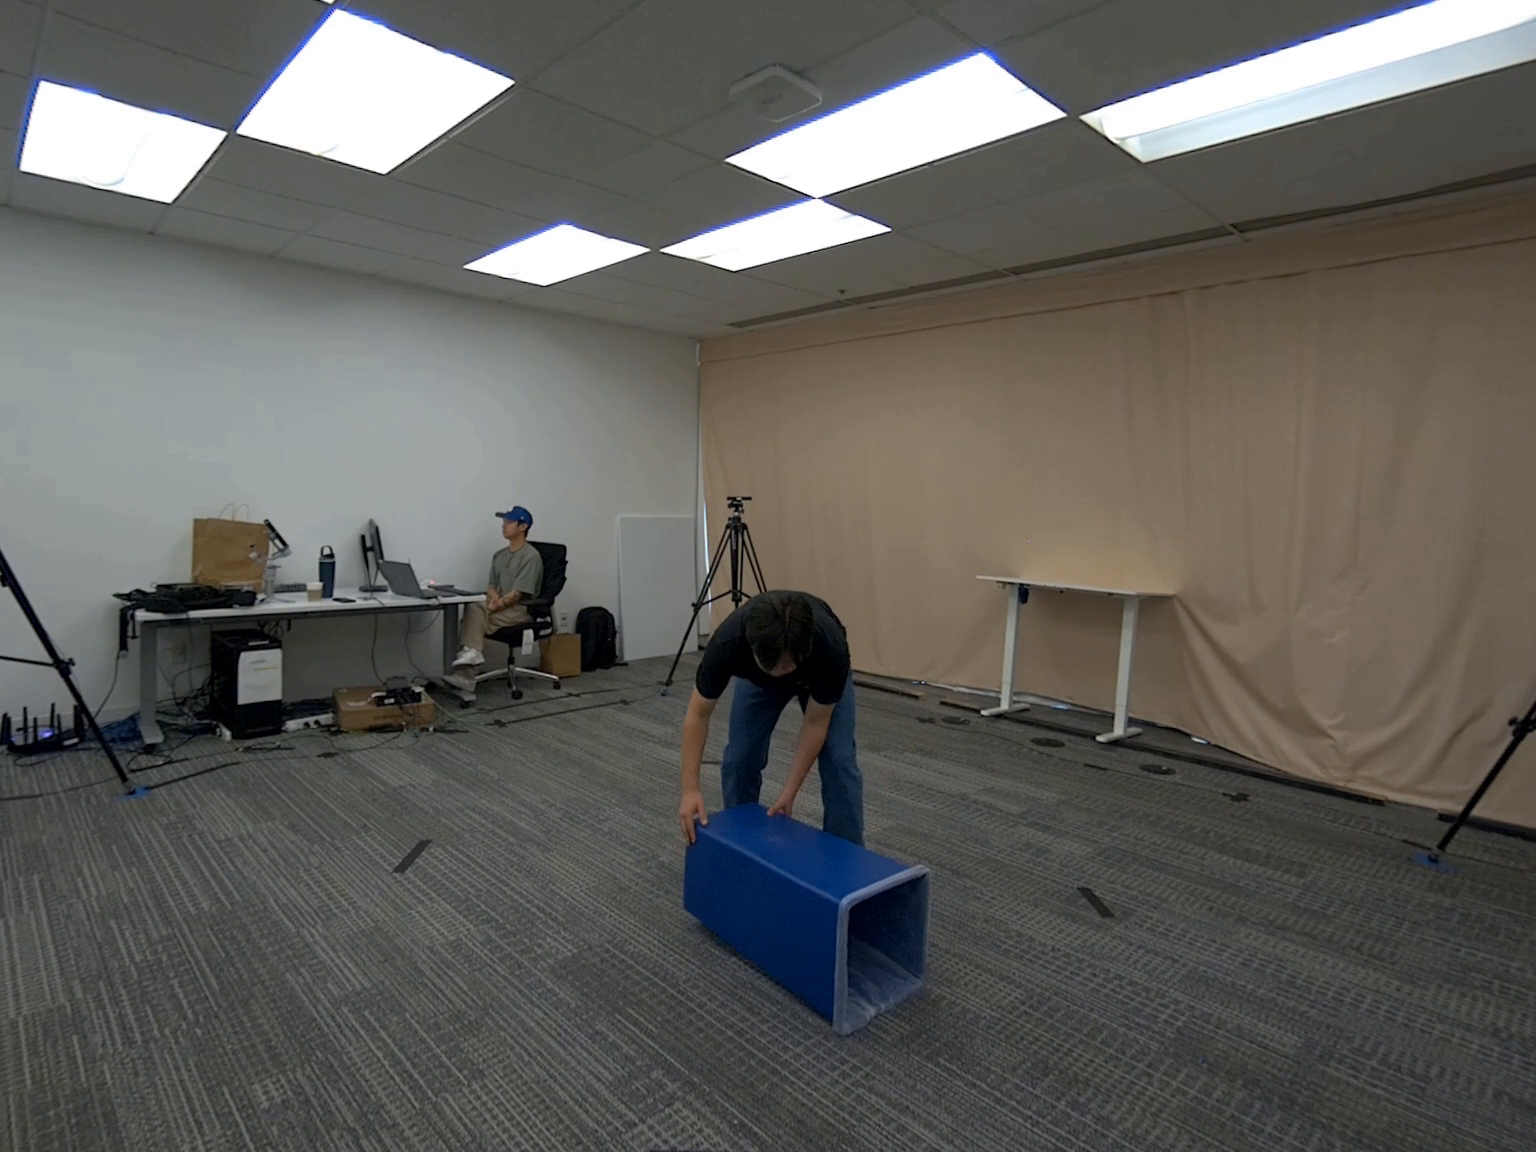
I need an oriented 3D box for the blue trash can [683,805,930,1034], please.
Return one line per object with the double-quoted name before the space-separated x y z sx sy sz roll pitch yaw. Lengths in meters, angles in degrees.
"blue trash can" 0.074 0.967 2.542 0.369 0.373 0.732 -3 8 -43
